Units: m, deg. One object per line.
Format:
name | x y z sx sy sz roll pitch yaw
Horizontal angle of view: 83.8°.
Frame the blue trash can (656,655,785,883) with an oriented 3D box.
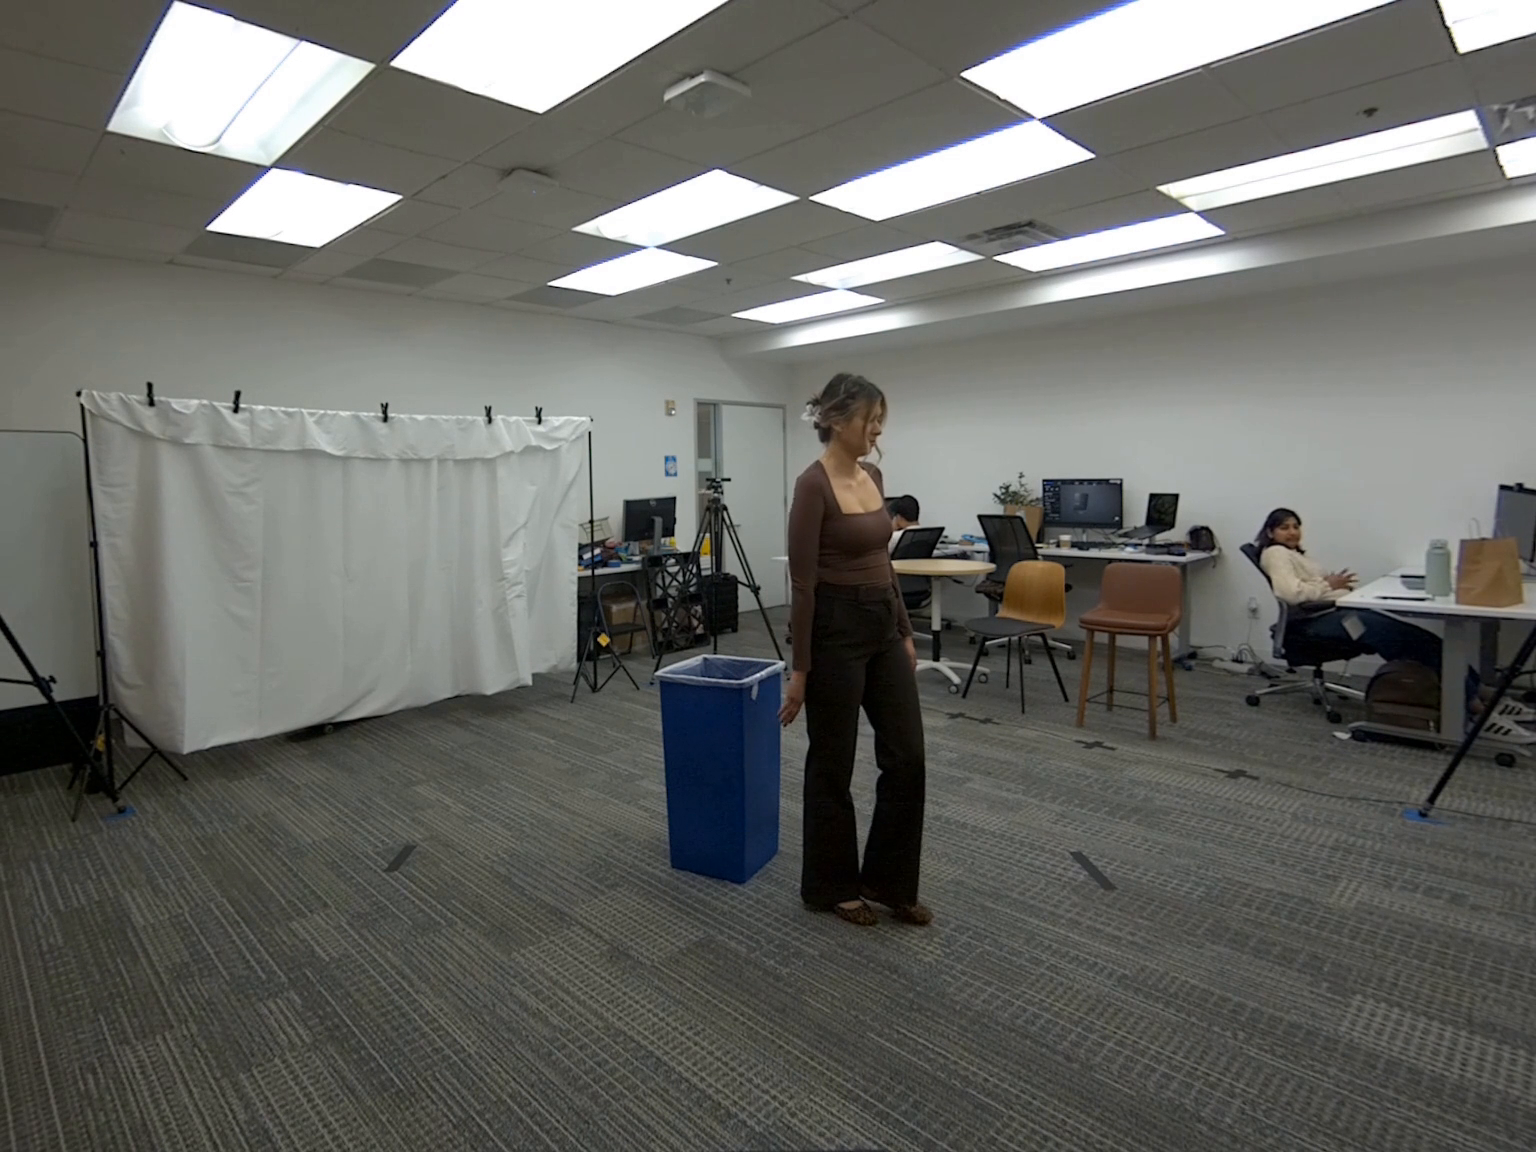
blue trash can | -0.158 0.683 3.115 0.387 0.712 0.366 1 3 27
